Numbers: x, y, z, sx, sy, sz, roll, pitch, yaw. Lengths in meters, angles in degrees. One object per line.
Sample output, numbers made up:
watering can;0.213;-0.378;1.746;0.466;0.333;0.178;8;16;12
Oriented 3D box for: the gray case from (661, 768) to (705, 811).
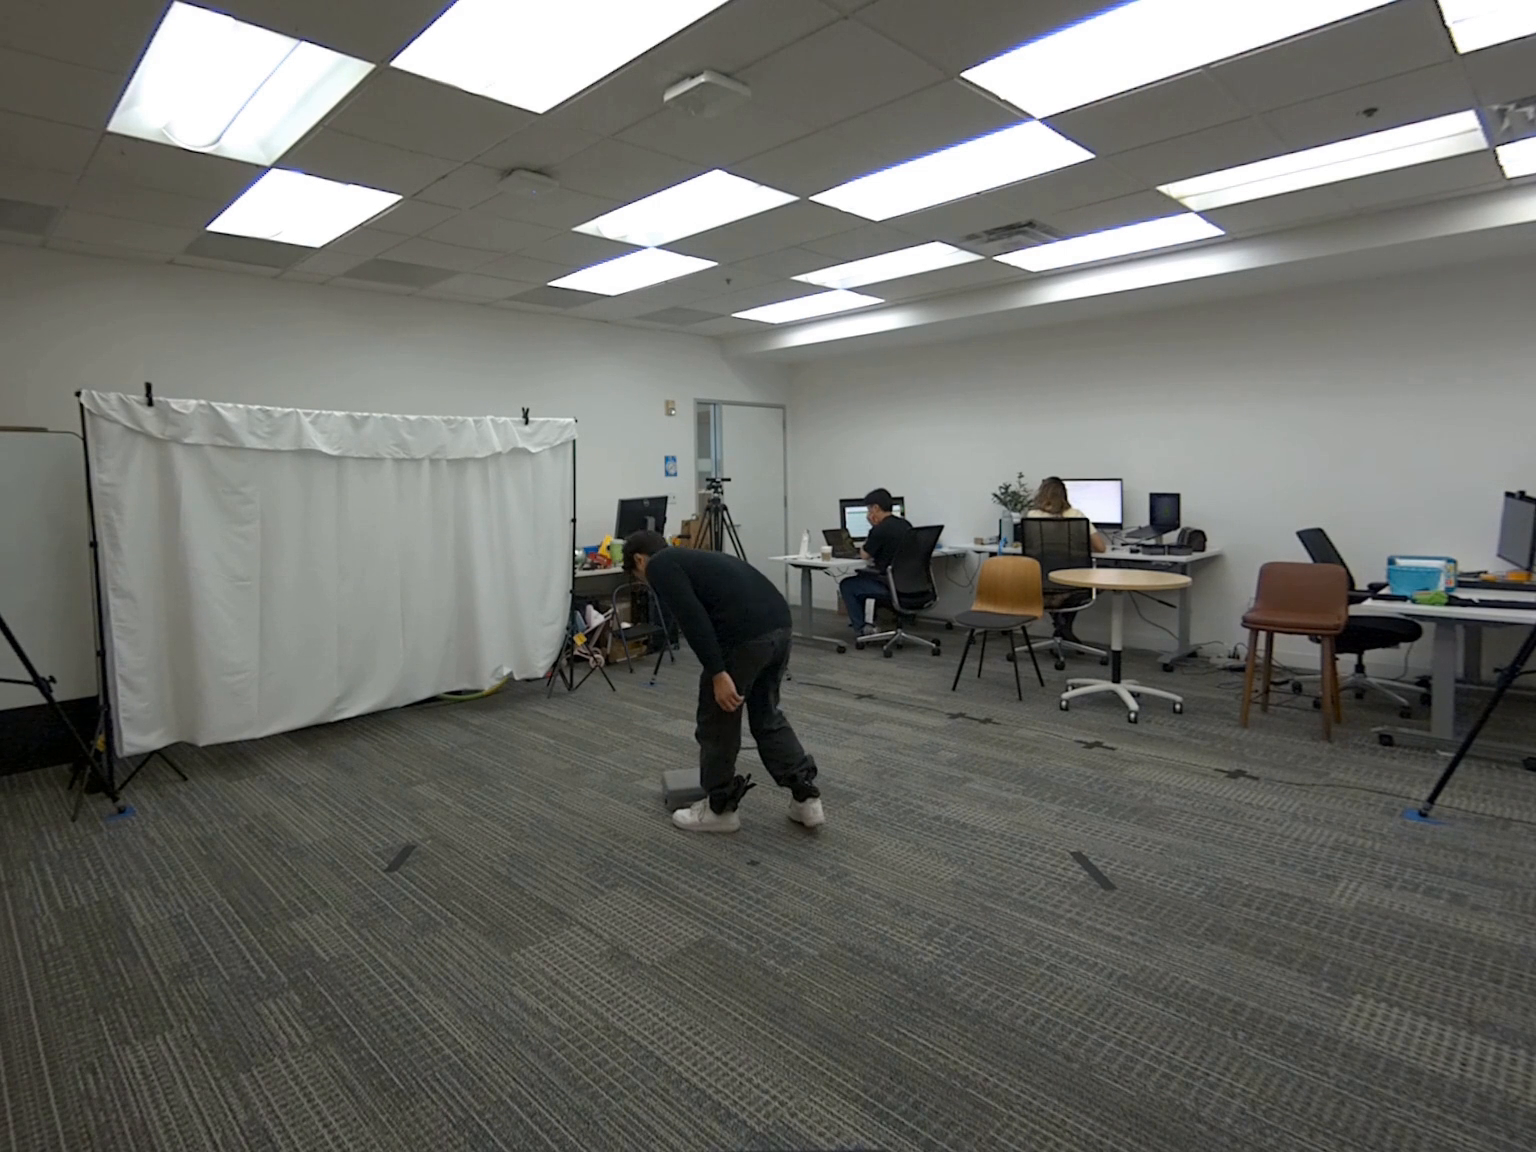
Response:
gray case;-0.323;0.922;3.717;0.254;0.104;0.264;-1;6;-11
